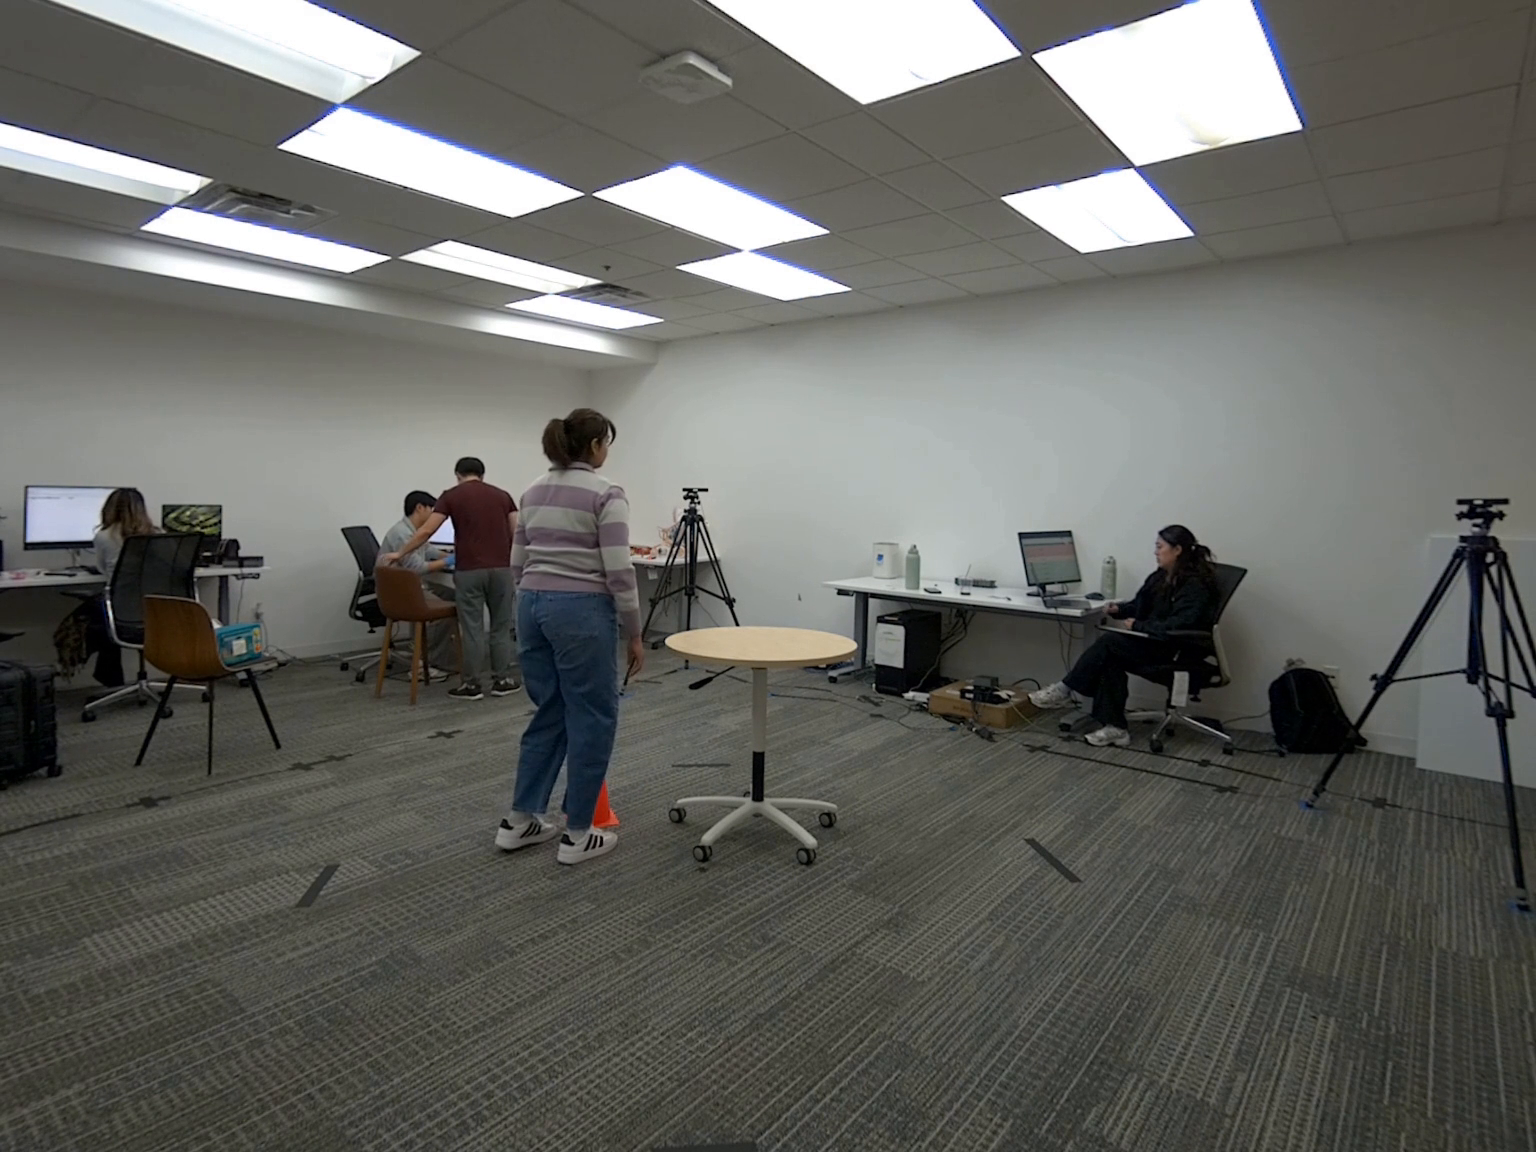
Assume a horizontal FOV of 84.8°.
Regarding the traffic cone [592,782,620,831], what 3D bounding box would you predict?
[{"bbox_3d":[-0.745,0.832,3.559,0.199,0.382,0.210,1,4,-23],"label":"traffic cone"}]
